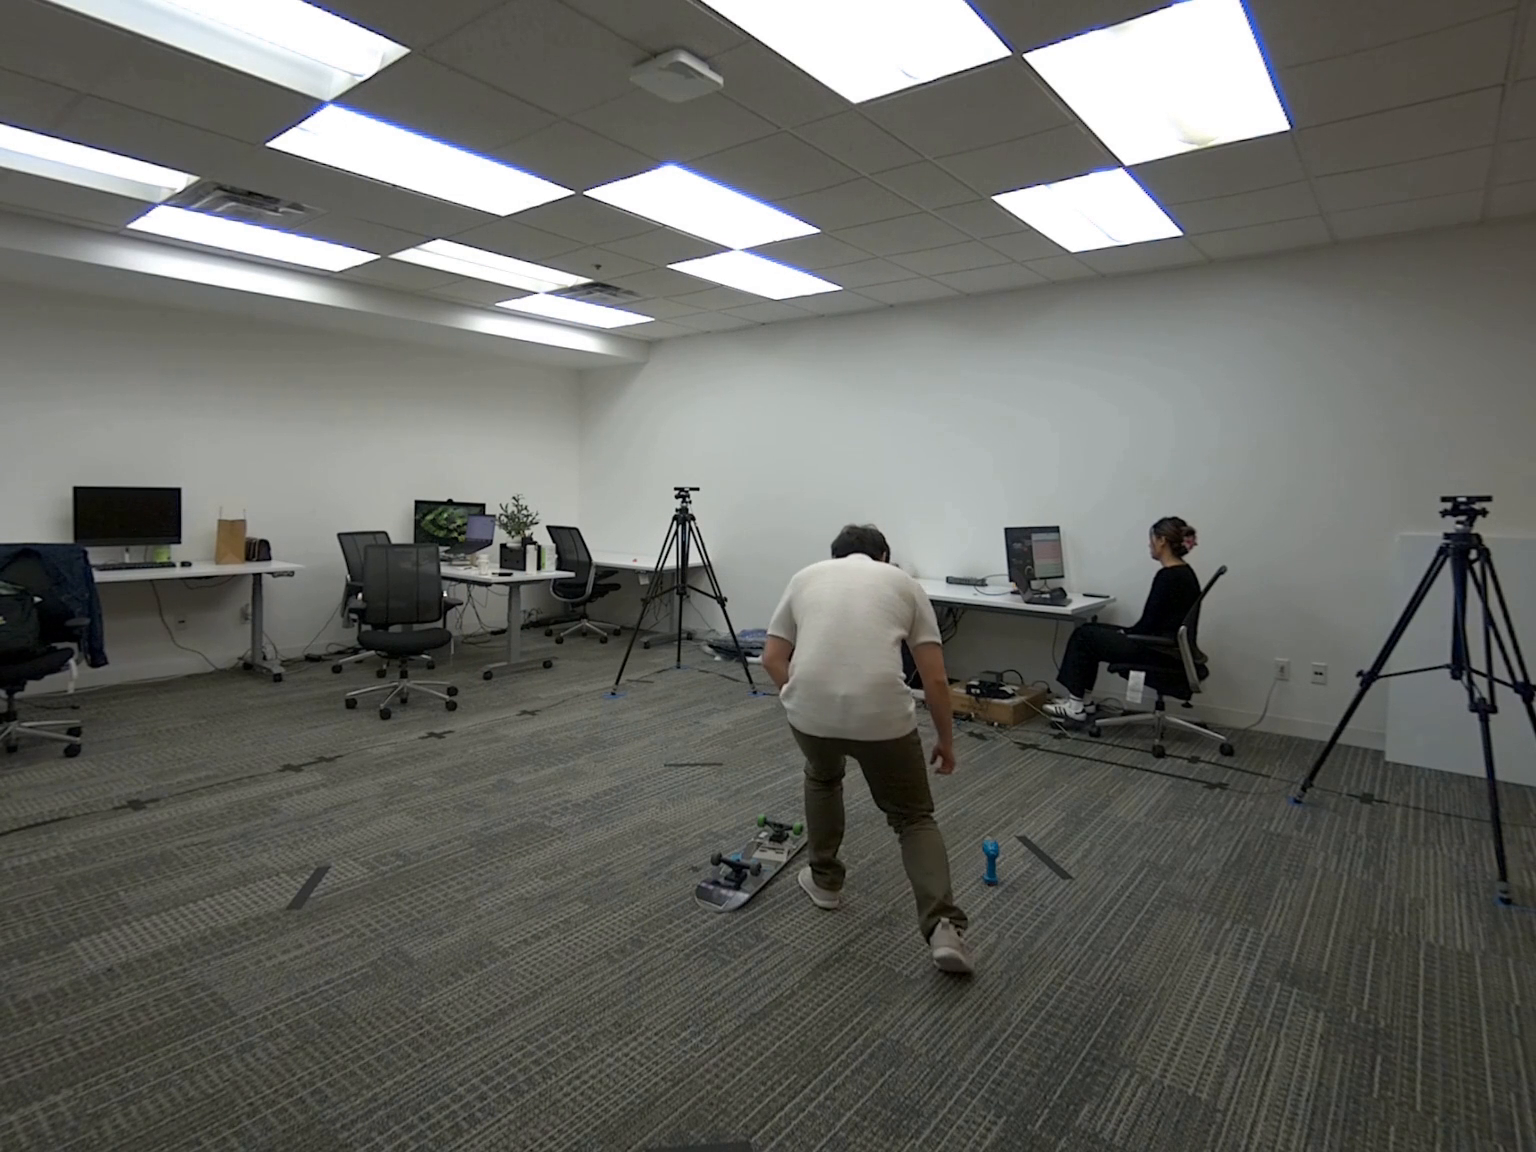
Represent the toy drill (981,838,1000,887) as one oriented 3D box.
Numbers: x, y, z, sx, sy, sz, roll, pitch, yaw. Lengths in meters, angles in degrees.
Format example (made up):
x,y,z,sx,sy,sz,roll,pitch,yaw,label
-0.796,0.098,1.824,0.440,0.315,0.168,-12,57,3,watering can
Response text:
x,y,z,sx,sy,sz,roll,pitch,yaw,label
0.798,1.014,3.095,0.061,0.145,0.169,1,4,5,toy drill
